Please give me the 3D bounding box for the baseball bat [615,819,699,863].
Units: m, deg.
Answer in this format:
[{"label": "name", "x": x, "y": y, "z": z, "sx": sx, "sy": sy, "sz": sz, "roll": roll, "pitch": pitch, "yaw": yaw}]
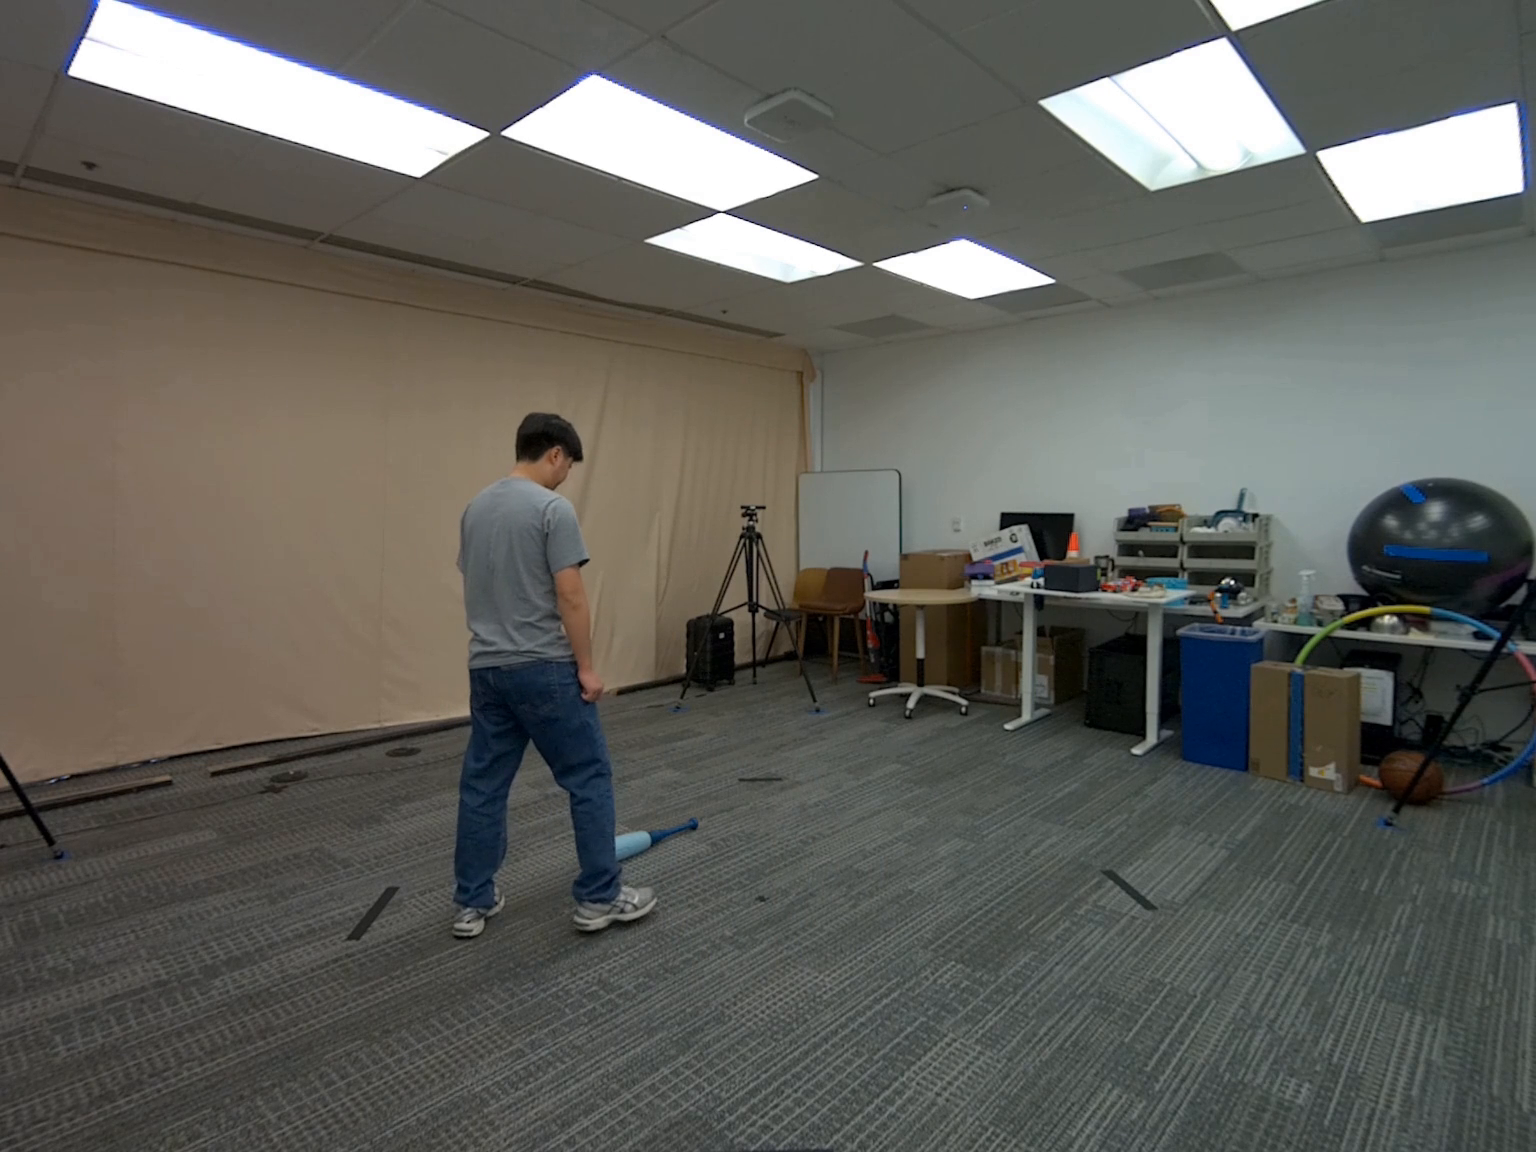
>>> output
[{"label": "baseball bat", "x": -0.487, "y": 1.077, "z": 3.441, "sx": 0.092, "sy": 0.089, "sz": 0.525, "roll": 3, "pitch": 2, "yaw": 41}]
